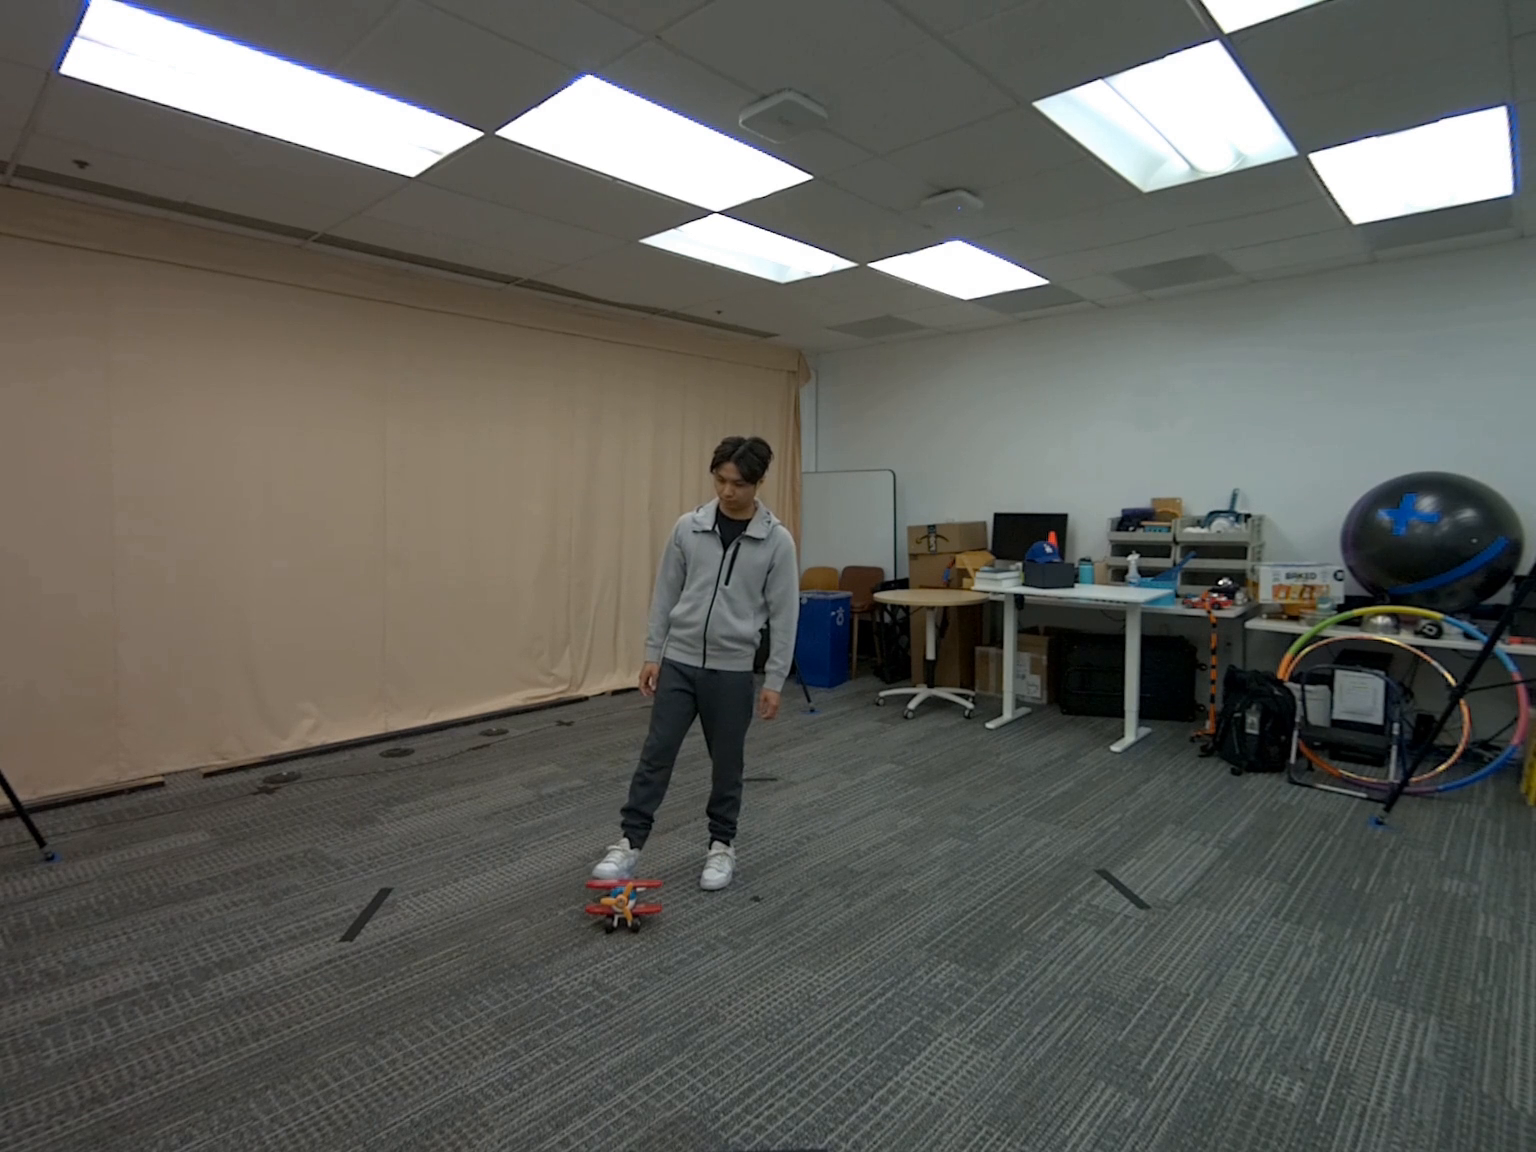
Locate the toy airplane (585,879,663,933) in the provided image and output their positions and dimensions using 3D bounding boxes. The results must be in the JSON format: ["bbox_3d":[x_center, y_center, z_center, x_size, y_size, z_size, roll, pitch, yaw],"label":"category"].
[{"bbox_3d":[-0.498,1.080,2.846,0.244,0.156,0.267,-3,5,-29],"label":"toy airplane"}]
